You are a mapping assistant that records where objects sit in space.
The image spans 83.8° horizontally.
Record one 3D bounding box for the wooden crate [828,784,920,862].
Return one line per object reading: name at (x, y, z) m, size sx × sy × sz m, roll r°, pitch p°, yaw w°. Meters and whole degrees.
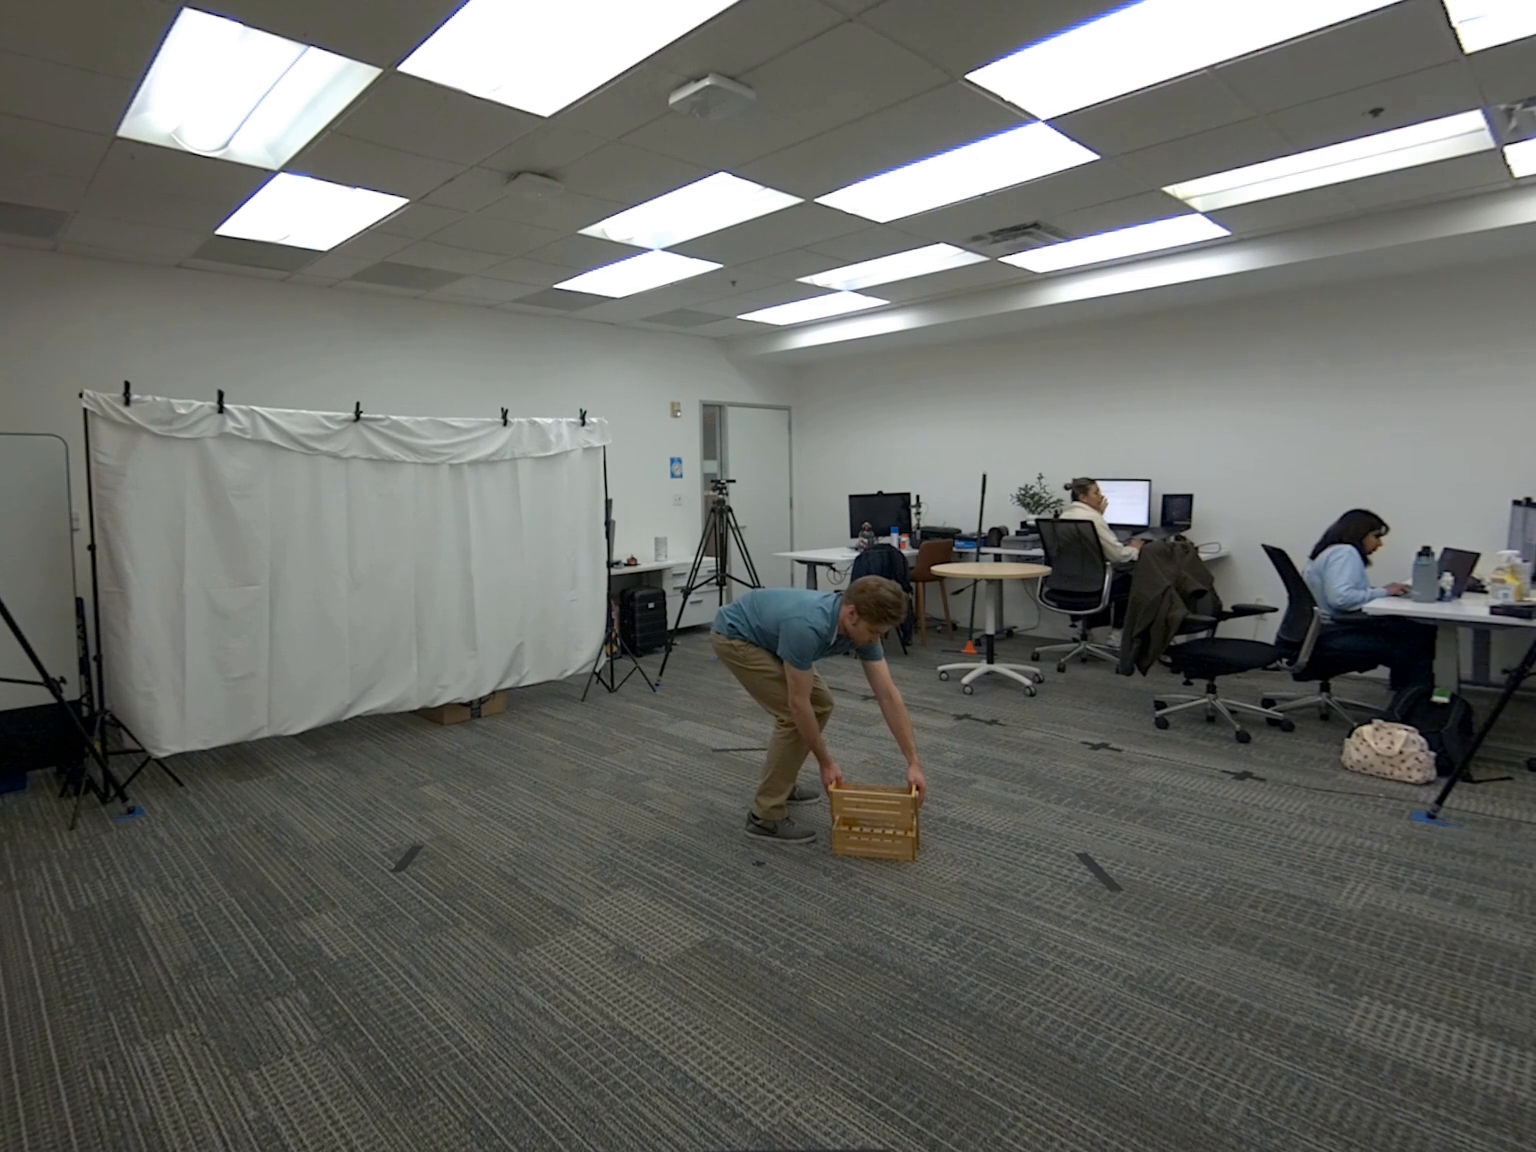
wooden crate at (0.409, 0.893, 3.234) m, size 0.329 × 0.272 × 0.299 m, roll 0°, pitch 5°, yaw 13°
